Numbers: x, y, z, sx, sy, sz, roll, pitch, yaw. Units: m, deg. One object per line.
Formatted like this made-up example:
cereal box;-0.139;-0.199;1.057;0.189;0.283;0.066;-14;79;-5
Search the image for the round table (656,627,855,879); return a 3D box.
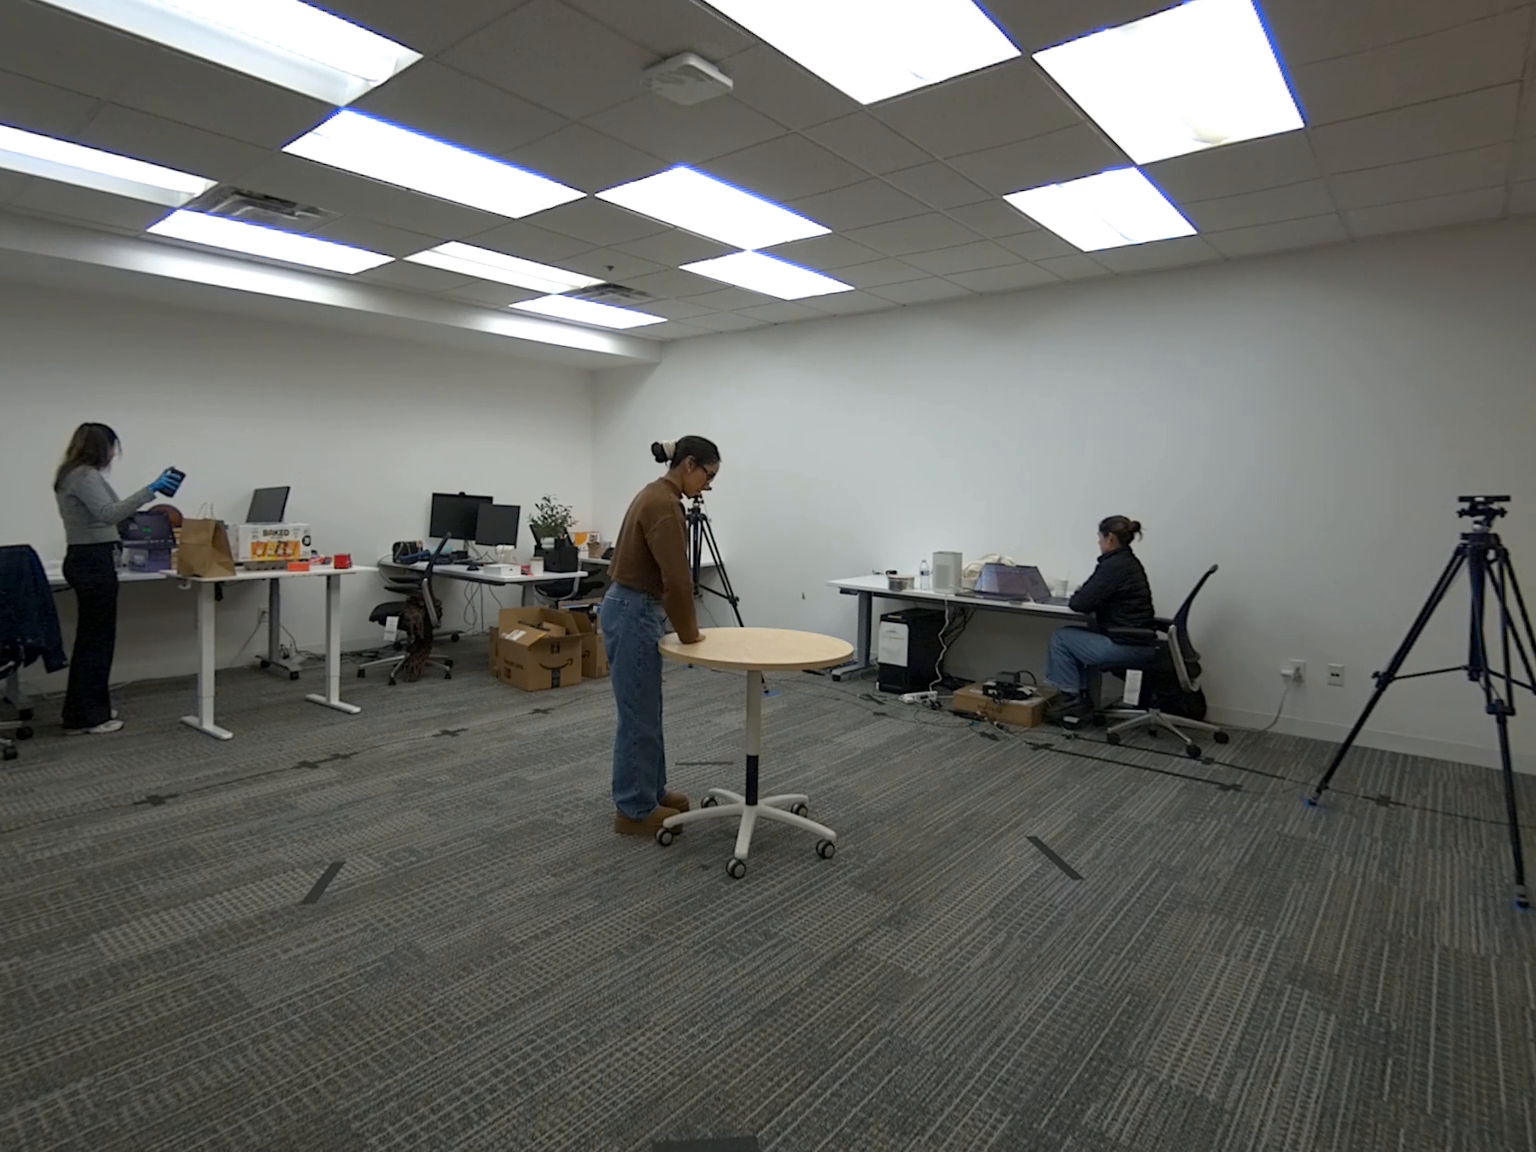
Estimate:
round table;-0.067;0.656;3.363;0.763;0.791;0.768;1;4;-2
